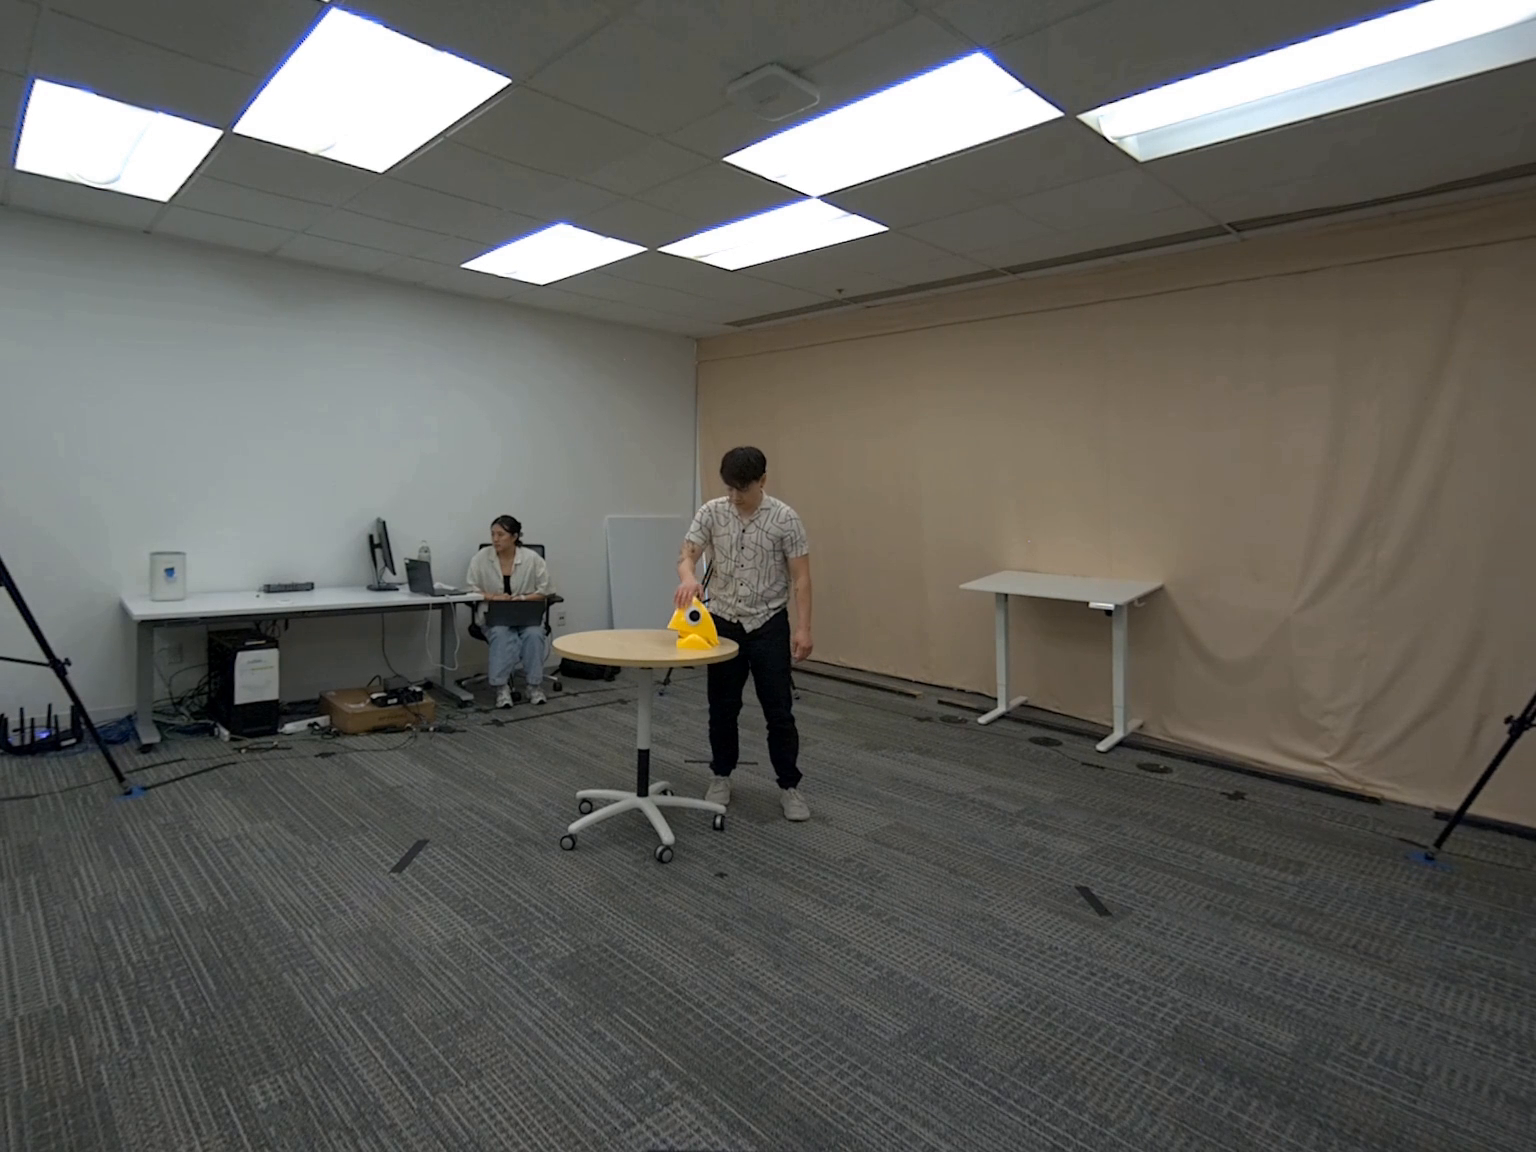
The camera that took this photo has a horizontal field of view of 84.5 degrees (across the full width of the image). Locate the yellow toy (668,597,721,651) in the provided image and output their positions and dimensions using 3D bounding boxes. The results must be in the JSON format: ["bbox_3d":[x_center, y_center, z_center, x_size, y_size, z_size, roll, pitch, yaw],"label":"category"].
[{"bbox_3d":[-0.309,0.173,3.479,0.195,0.230,0.203,3,3,12],"label":"yellow toy"}]
